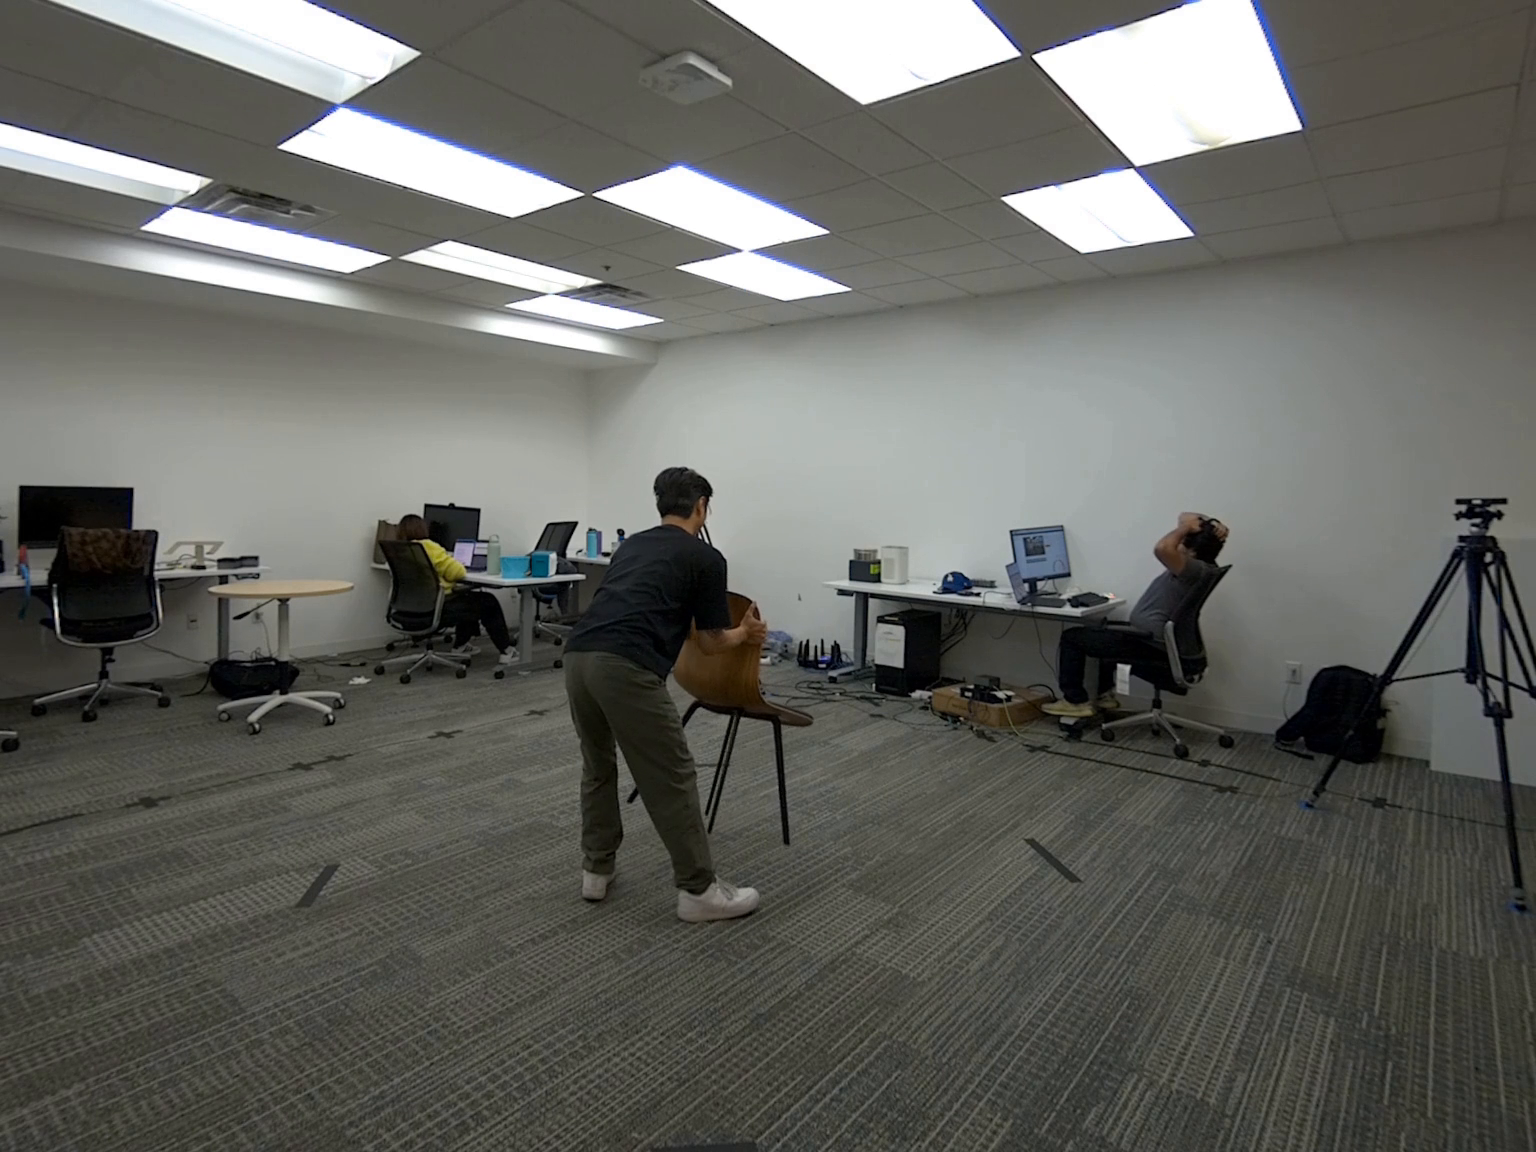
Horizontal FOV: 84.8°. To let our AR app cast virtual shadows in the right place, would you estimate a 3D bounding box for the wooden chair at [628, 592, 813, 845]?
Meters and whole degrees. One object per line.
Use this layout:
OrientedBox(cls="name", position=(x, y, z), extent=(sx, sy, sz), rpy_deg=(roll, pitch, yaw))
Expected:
OrientedBox(cls="wooden chair", position=(-0.130, 0.529, 3.300), extent=(0.494, 0.884, 0.502), rpy_deg=(1, -13, 43))
